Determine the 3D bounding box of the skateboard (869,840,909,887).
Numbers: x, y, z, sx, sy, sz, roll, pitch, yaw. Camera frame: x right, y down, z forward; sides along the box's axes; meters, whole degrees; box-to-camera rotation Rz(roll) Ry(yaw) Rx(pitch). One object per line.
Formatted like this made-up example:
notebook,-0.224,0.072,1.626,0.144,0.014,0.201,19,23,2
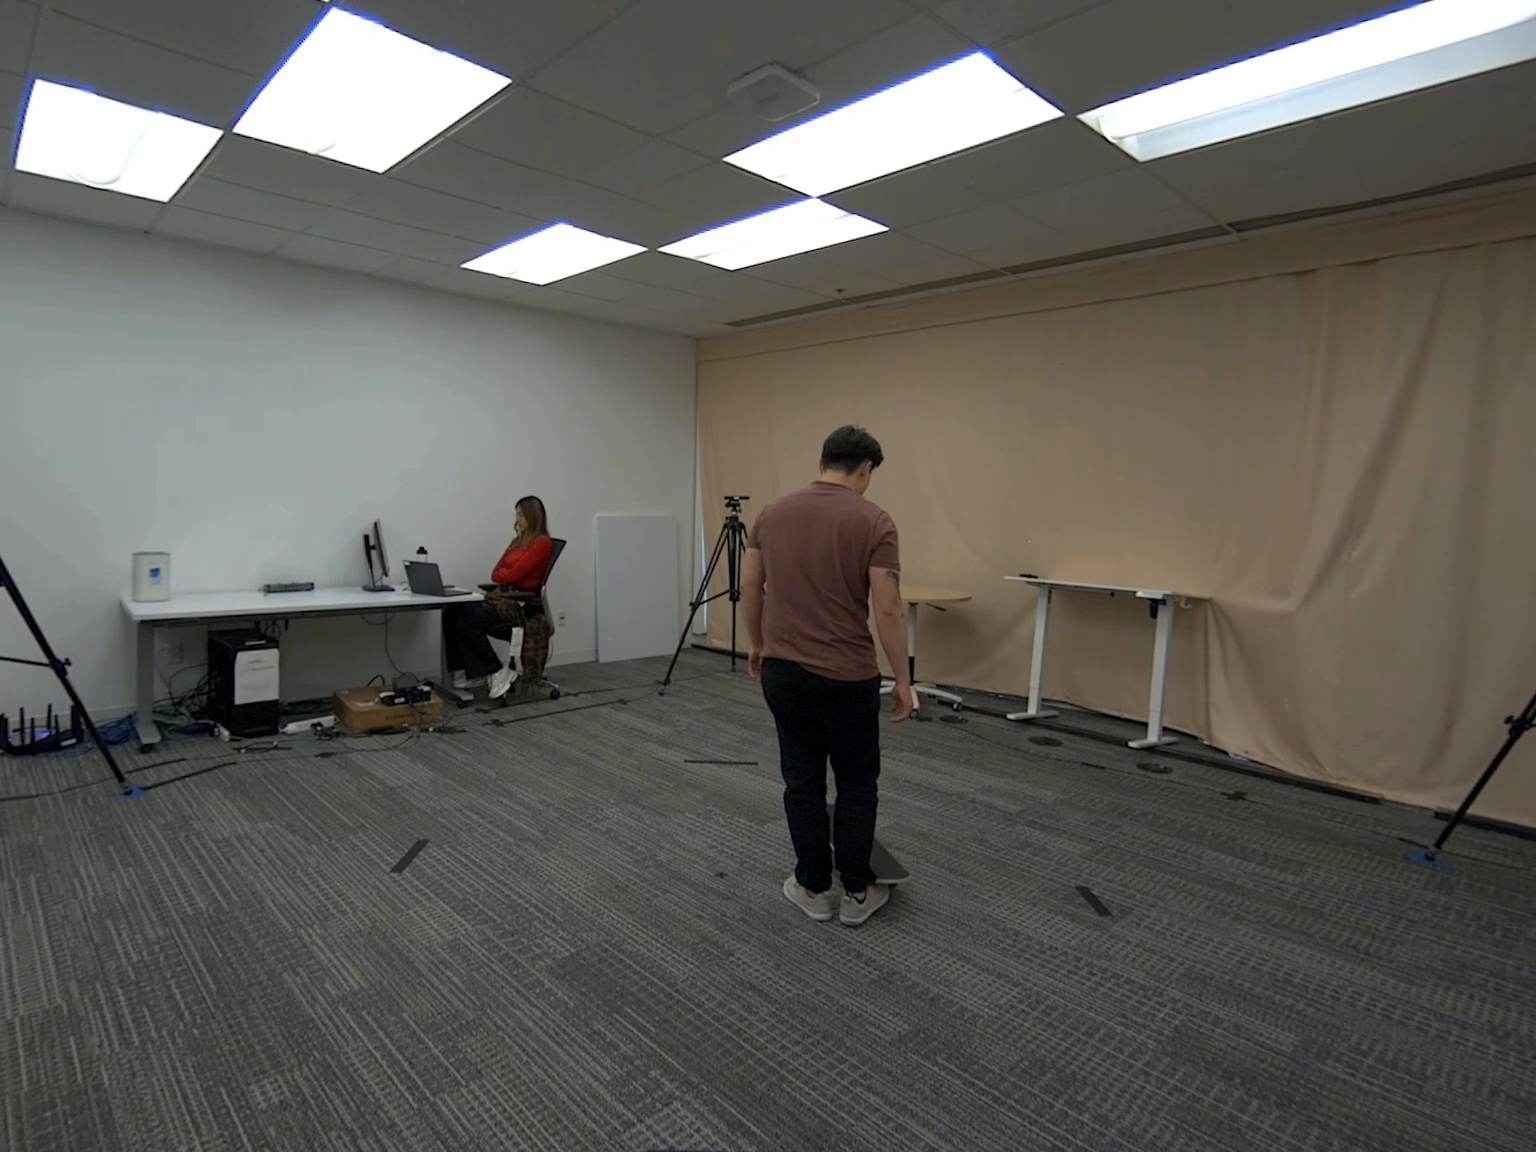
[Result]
skateboard,0.321,1.048,3.204,0.192,0.110,0.794,1,4,-12
